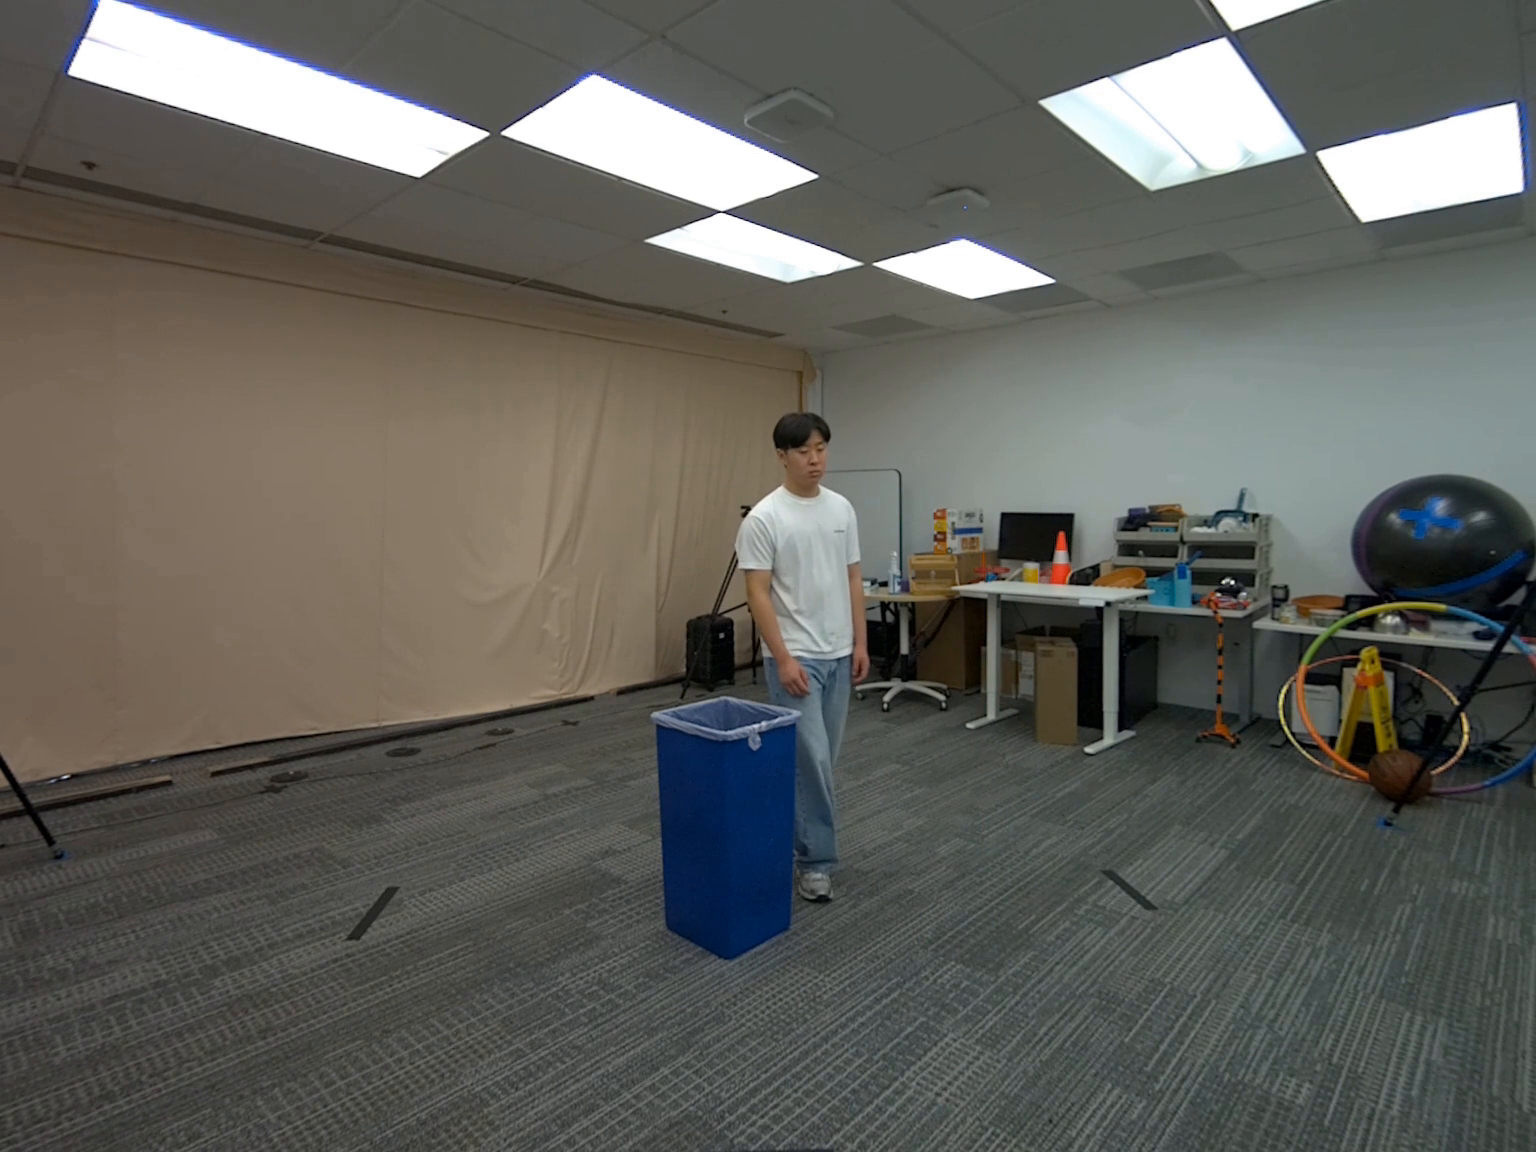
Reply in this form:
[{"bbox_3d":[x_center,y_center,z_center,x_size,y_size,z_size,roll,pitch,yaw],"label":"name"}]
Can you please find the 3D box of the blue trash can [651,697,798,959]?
[{"bbox_3d":[-0.142,0.805,2.766,0.386,0.712,0.366,3,4,44],"label":"blue trash can"}]
